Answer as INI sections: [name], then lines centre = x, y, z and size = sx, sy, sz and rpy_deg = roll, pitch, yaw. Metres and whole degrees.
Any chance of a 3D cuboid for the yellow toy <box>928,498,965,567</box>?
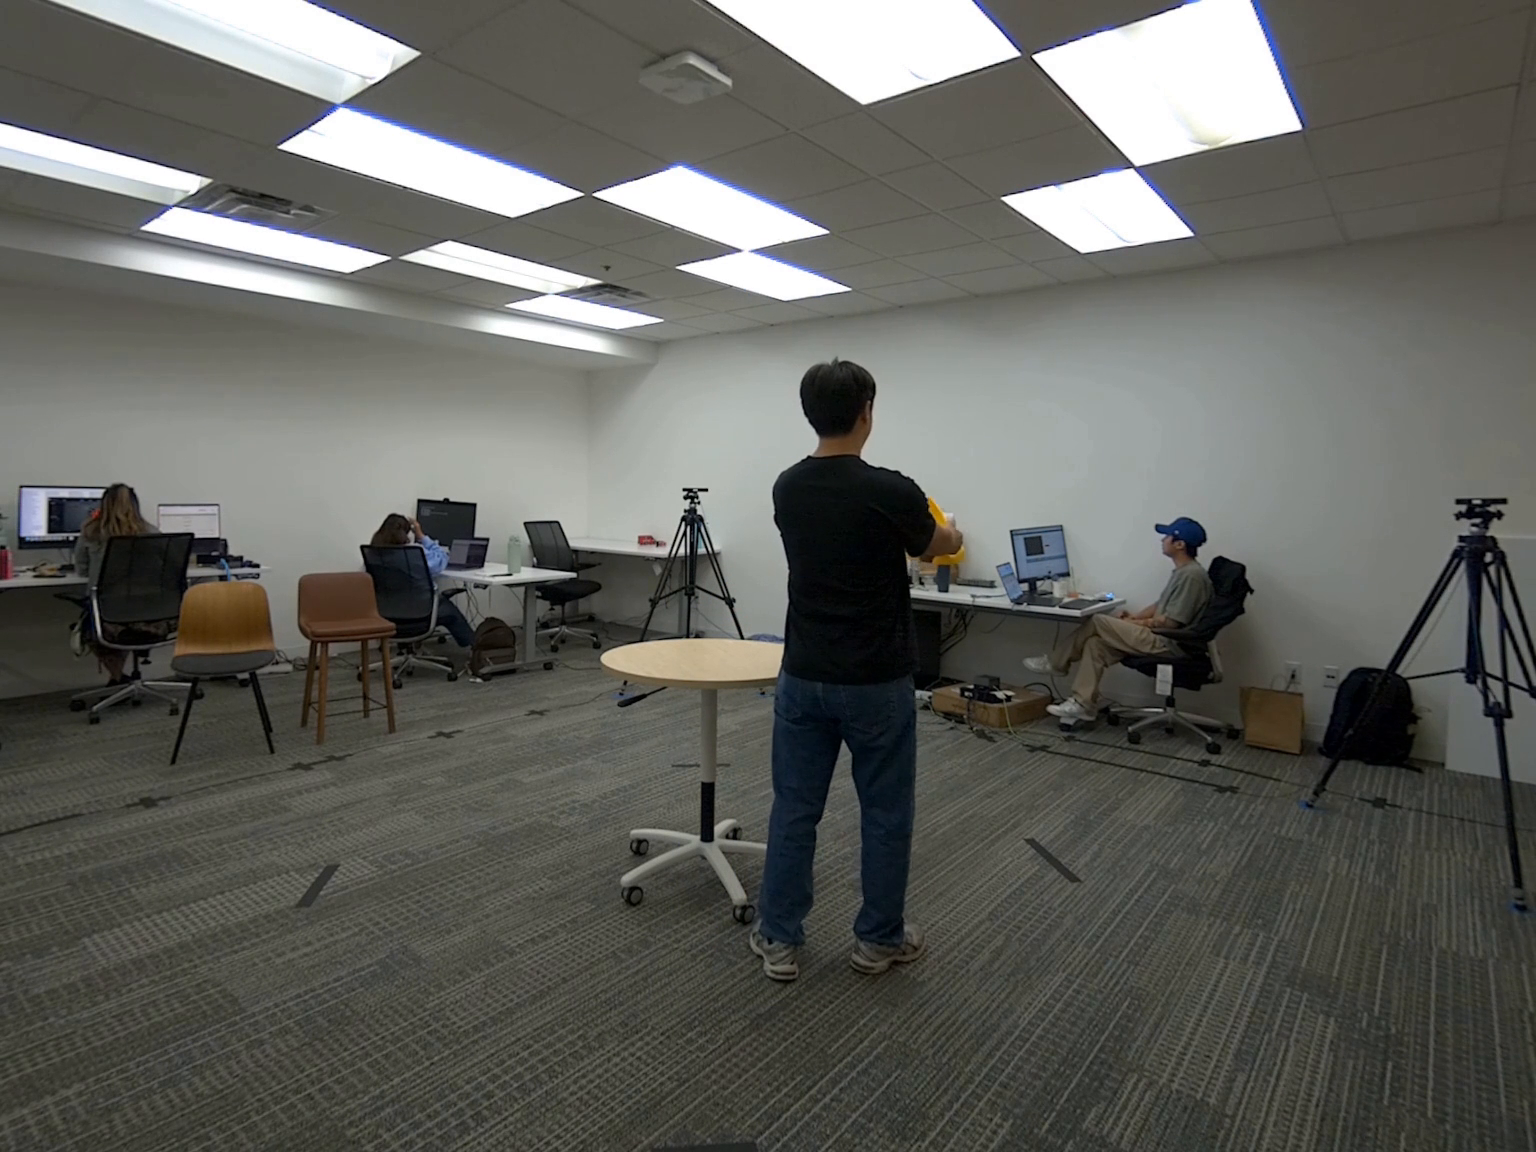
[yellow toy]
centre = 0.568, -0.172, 2.968
size = 0.212, 0.228, 0.189
rpy_deg = 7, 15, 35
